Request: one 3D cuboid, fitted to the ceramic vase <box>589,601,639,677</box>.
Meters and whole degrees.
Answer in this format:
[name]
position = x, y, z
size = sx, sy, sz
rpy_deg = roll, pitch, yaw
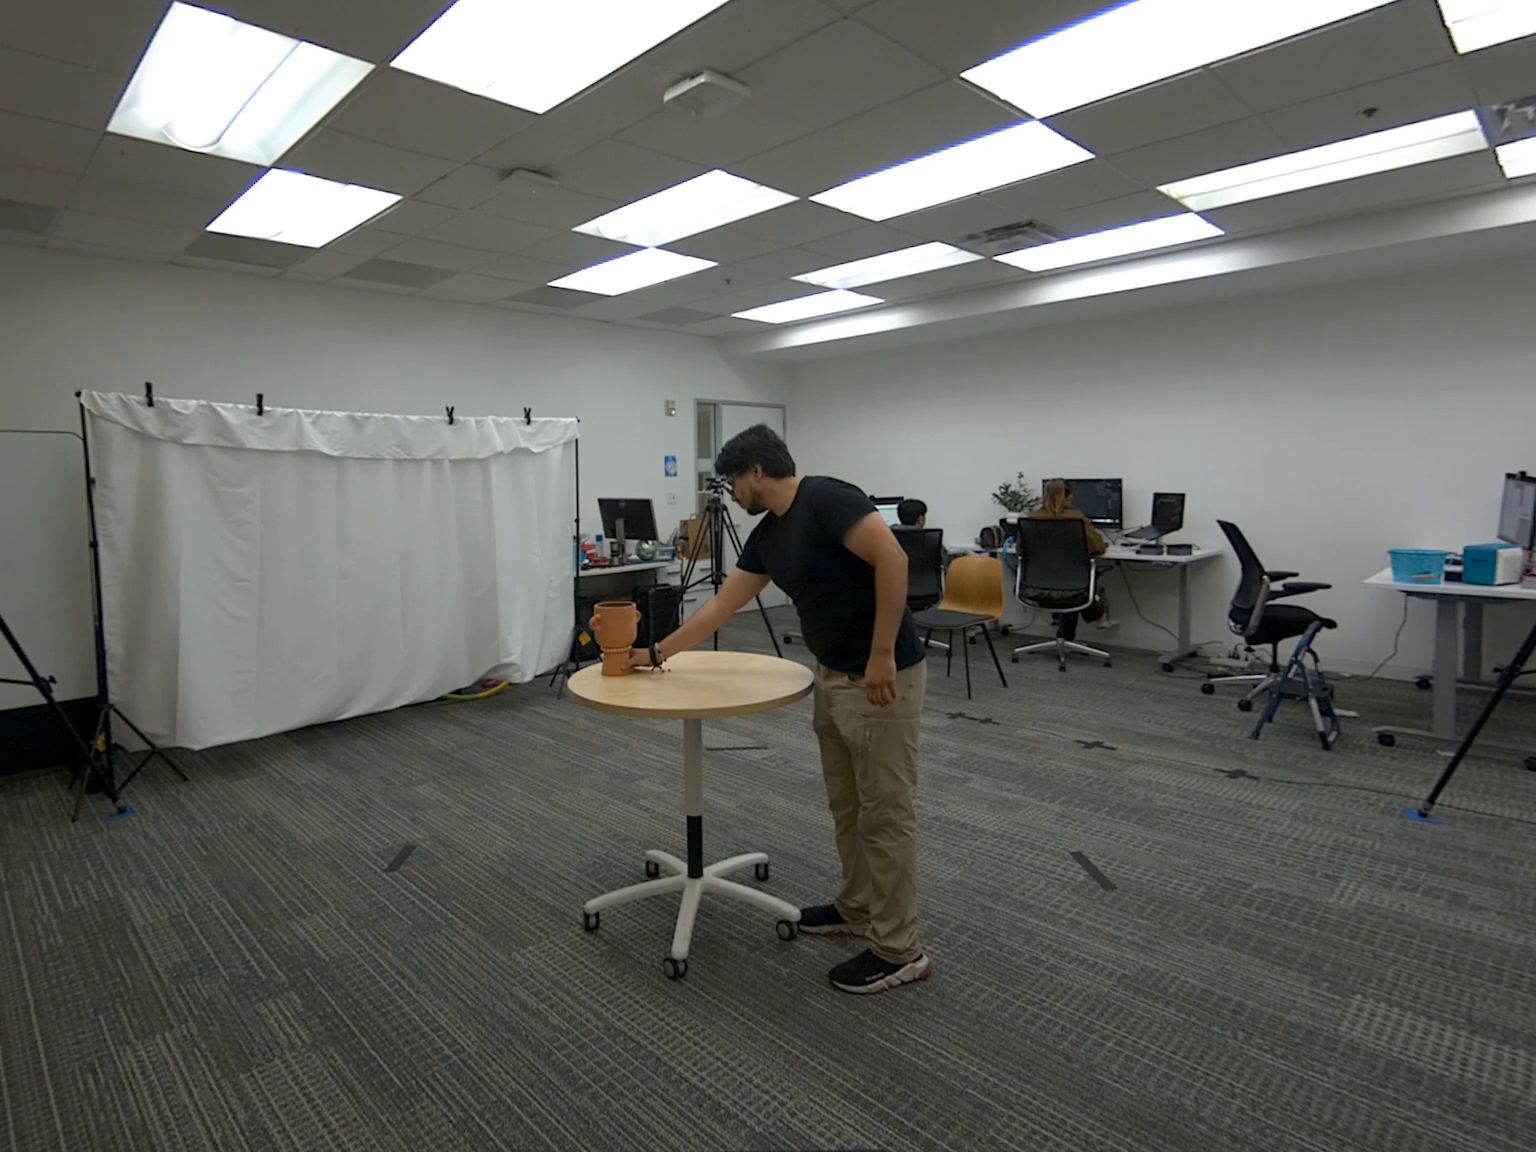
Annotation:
[ceramic vase]
position = -0.474, 0.199, 2.727
size = 0.158, 0.219, 0.136
rpy_deg = -2, 5, -6
